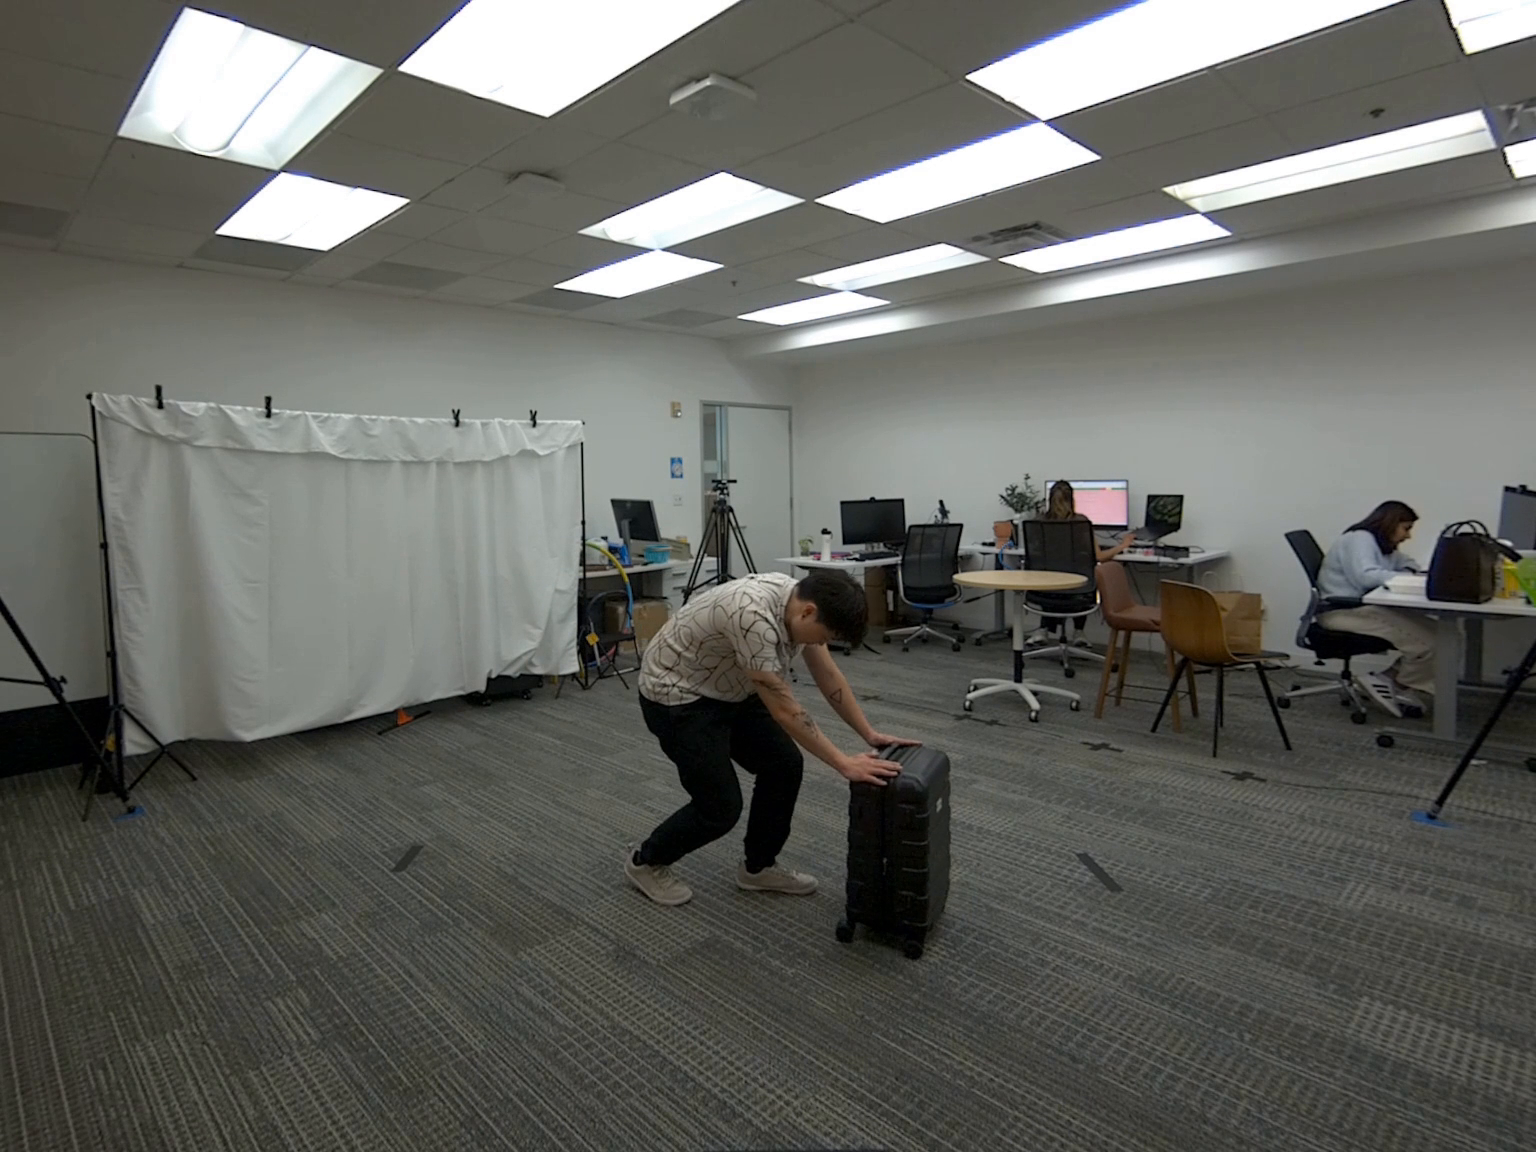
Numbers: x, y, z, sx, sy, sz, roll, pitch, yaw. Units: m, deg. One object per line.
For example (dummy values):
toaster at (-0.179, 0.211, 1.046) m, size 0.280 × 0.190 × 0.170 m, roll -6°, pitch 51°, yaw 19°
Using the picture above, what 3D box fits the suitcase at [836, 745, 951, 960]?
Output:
suitcase at (0.409, 0.816, 2.649) m, size 0.254 × 0.547 × 0.368 m, roll 3°, pitch 6°, yaw 26°
